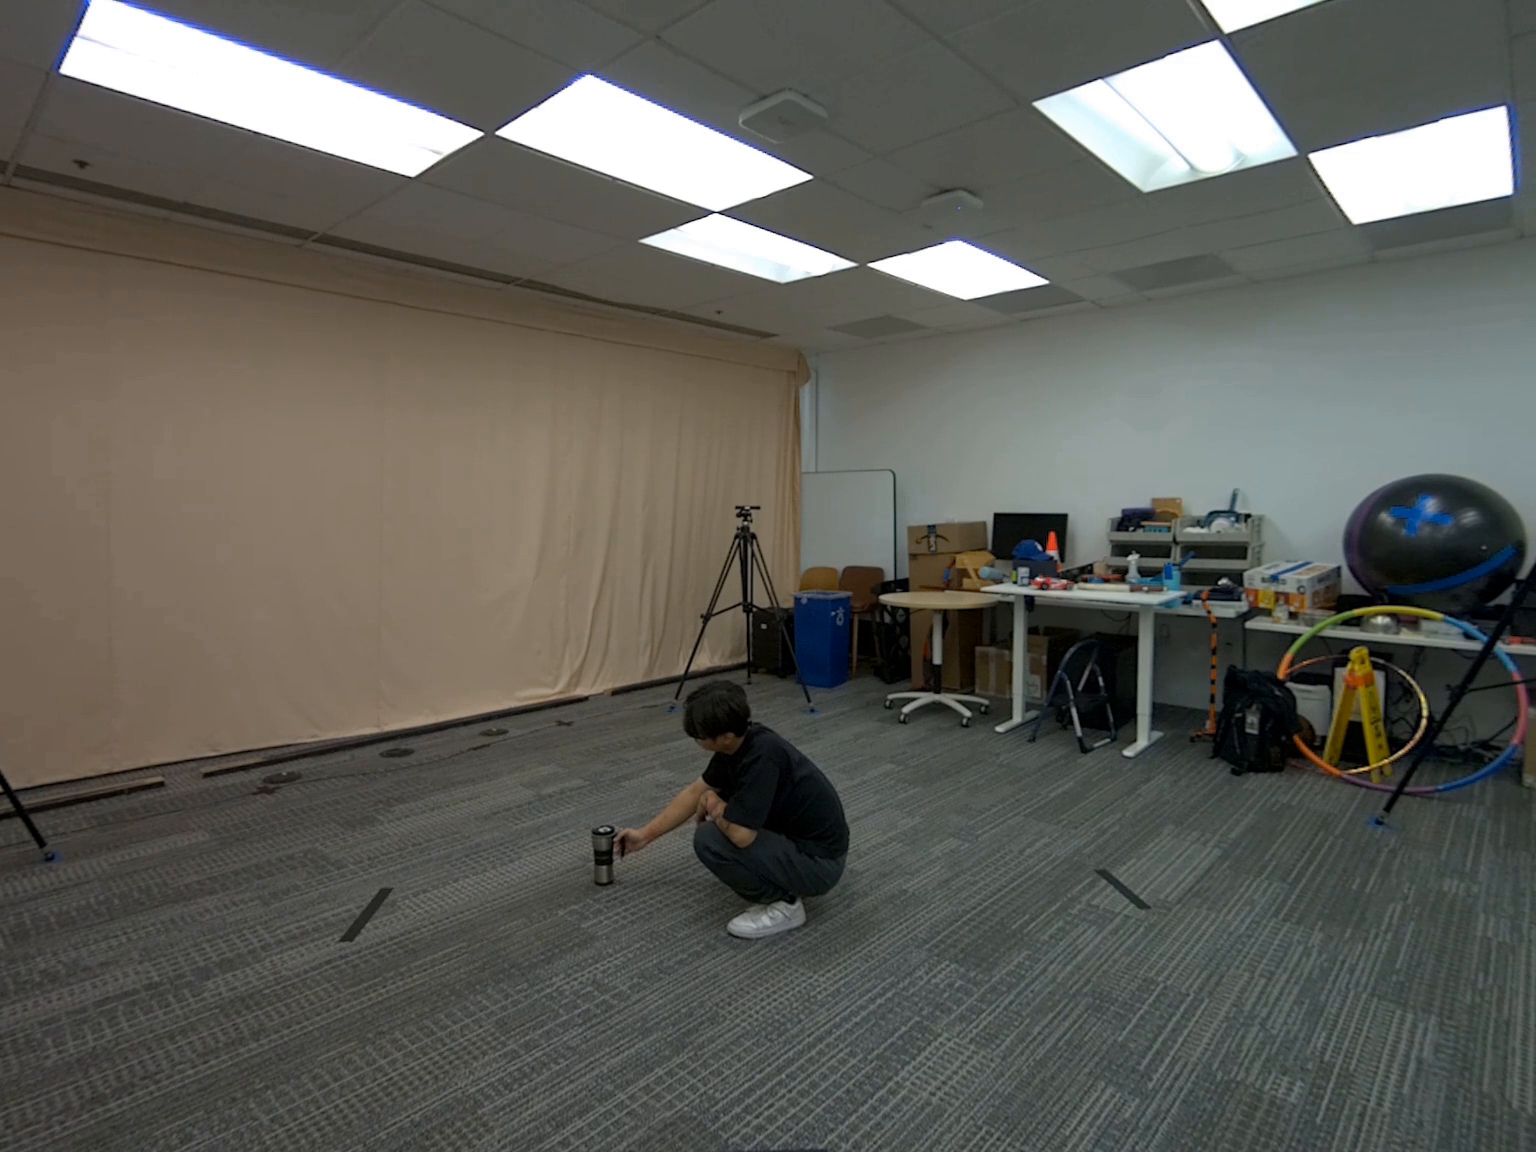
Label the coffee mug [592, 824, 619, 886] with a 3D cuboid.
[{"bbox_3d":[-0.599,1.044,3.113,0.126,0.203,0.085,-3,-4,43],"label":"coffee mug"}]
